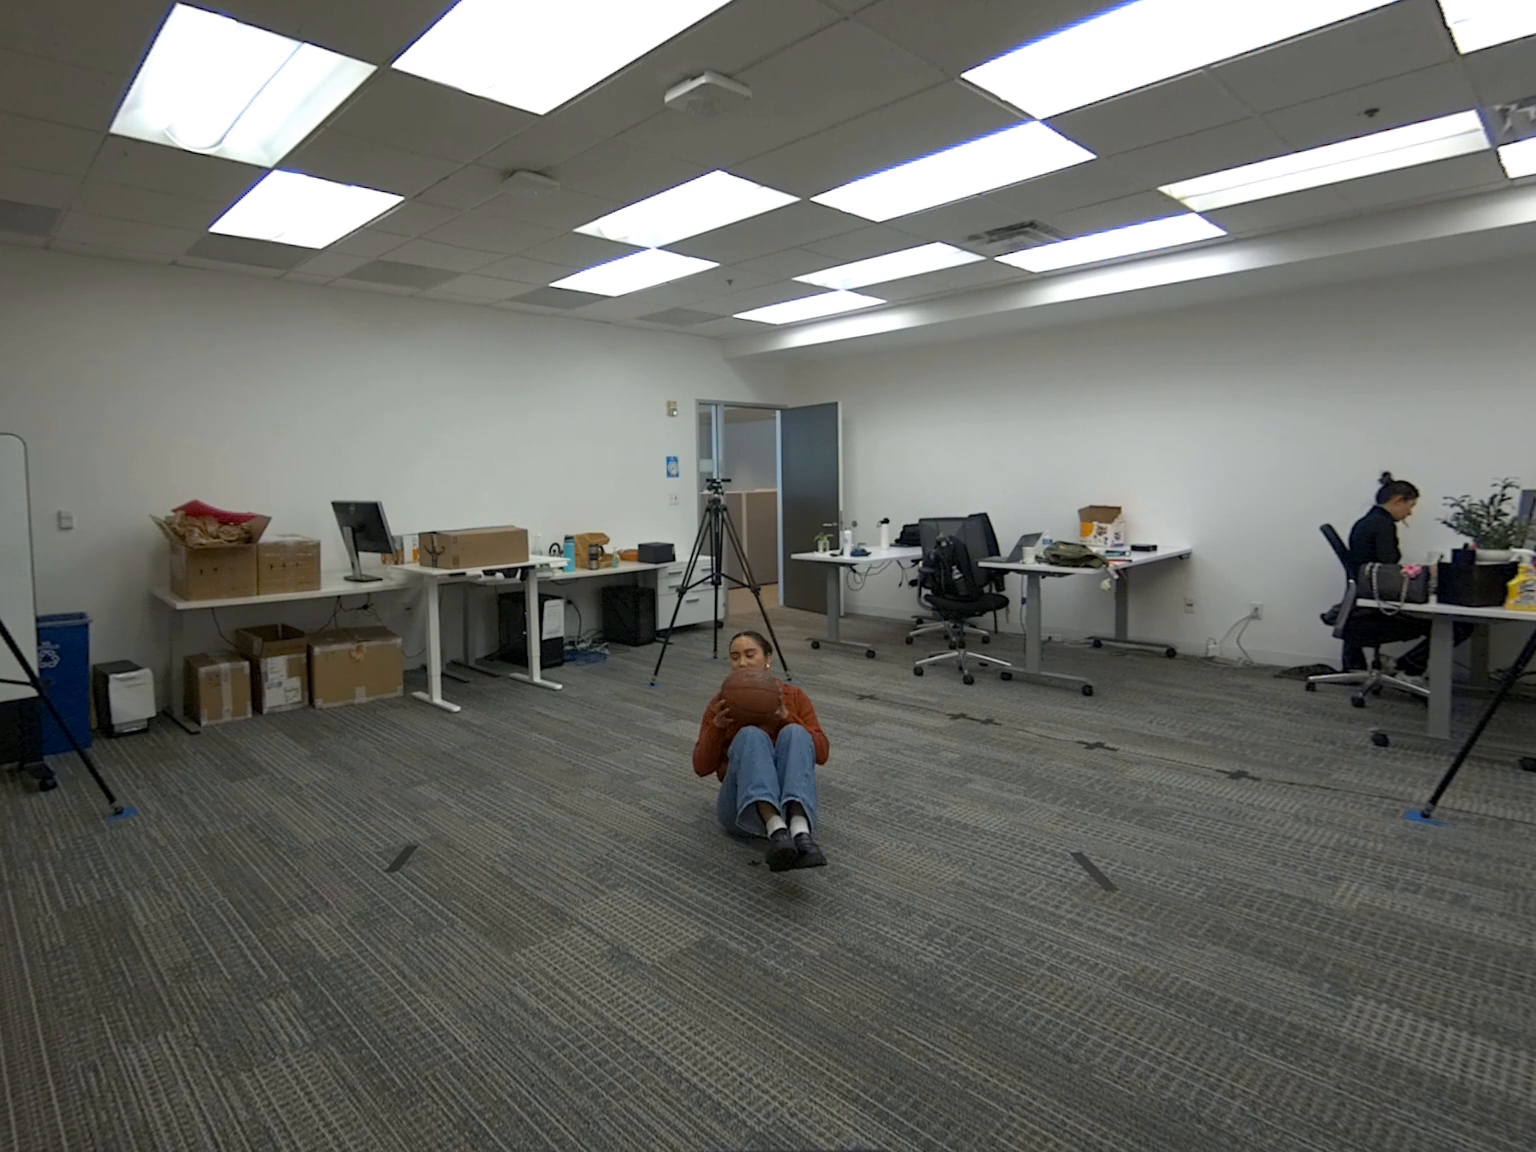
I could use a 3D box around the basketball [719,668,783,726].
[{"bbox_3d":[-0.068,0.489,3.360,0.236,0.235,0.237,-1,5,-2],"label":"basketball"}]
